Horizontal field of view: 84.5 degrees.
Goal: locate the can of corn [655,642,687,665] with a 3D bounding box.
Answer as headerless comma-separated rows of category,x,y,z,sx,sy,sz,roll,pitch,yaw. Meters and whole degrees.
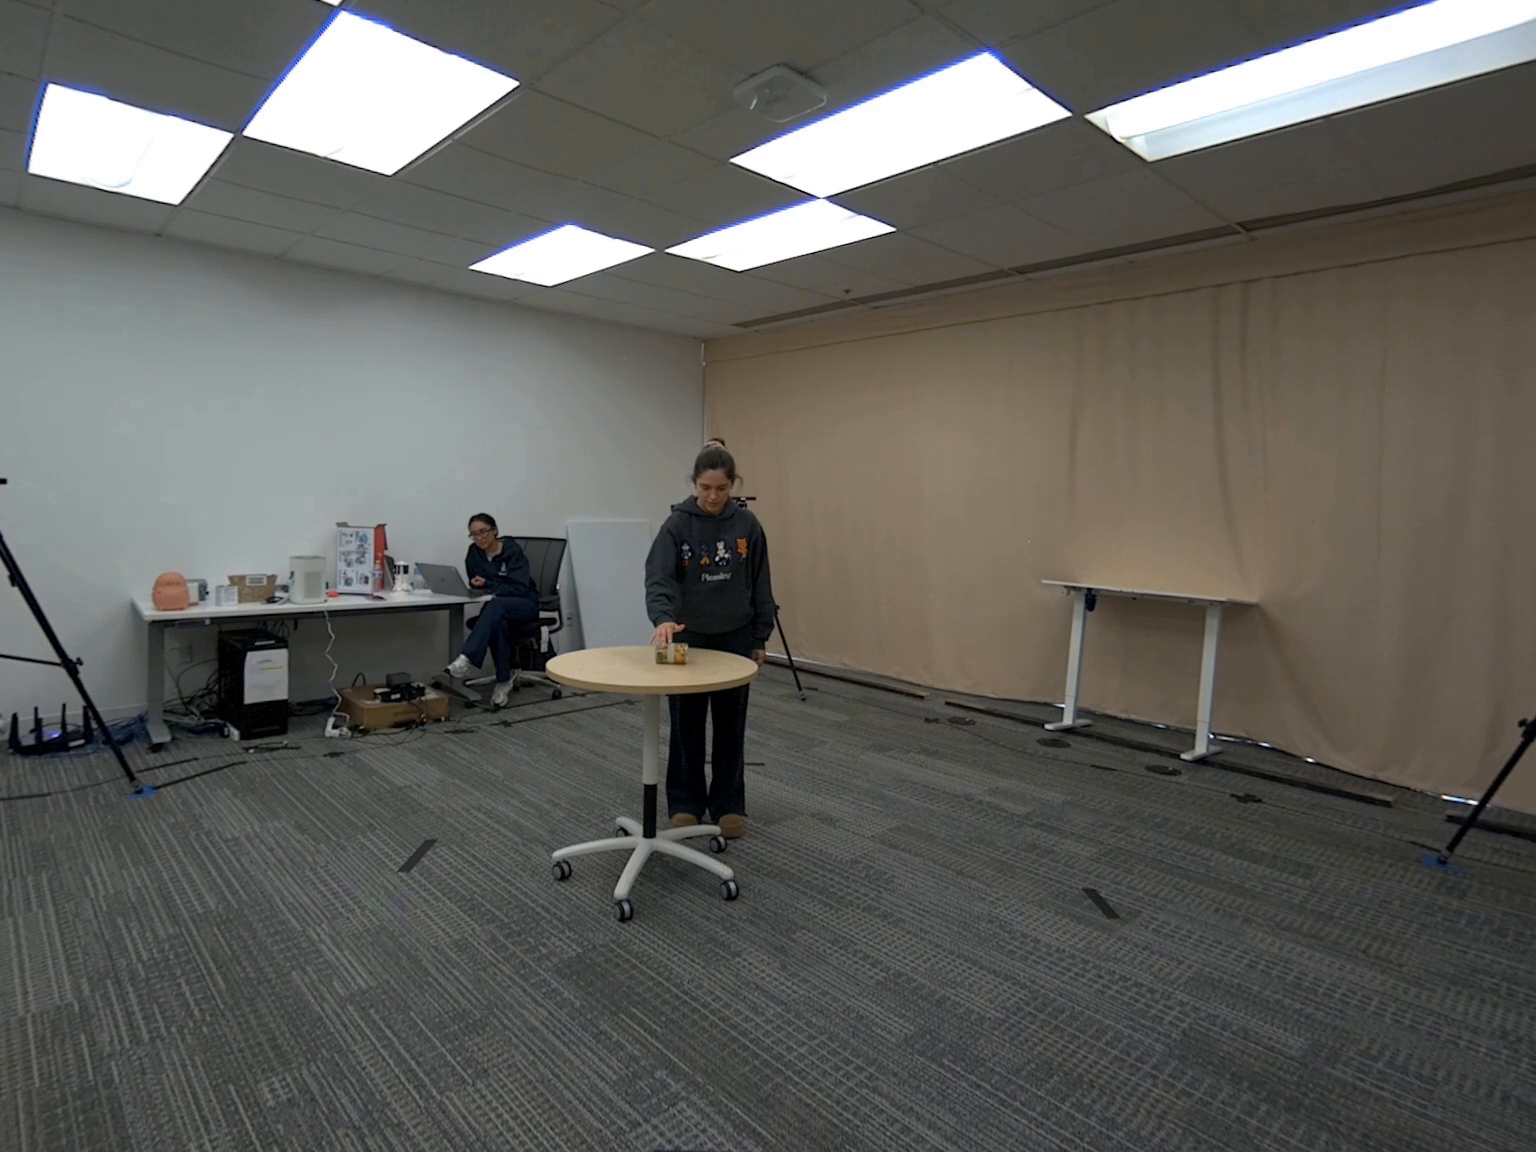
can of corn,-0.368,0.281,3.095,0.111,0.074,0.074,3,5,4
